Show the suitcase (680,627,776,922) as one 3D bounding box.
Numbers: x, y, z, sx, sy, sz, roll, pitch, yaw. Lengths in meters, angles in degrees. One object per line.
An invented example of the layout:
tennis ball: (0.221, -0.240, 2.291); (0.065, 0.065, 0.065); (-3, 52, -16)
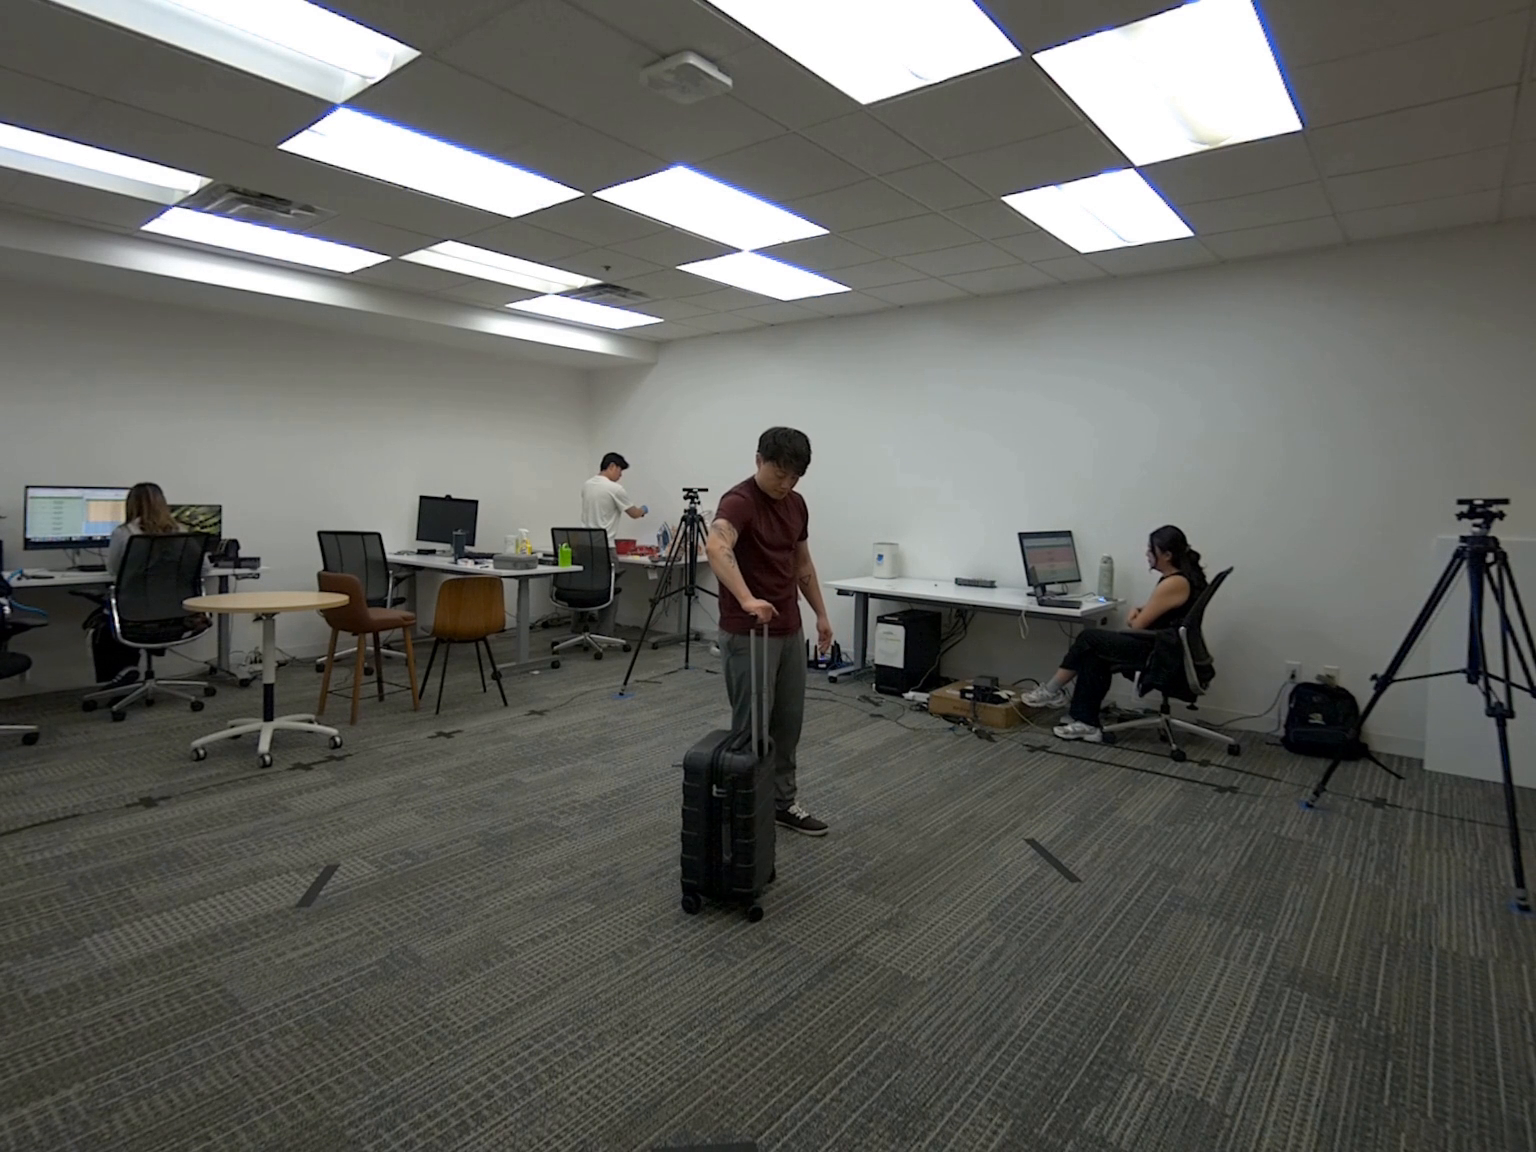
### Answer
suitcase: (-0.143, 0.620, 2.894); (0.261, 0.977, 0.379); (-1, 2, 13)
